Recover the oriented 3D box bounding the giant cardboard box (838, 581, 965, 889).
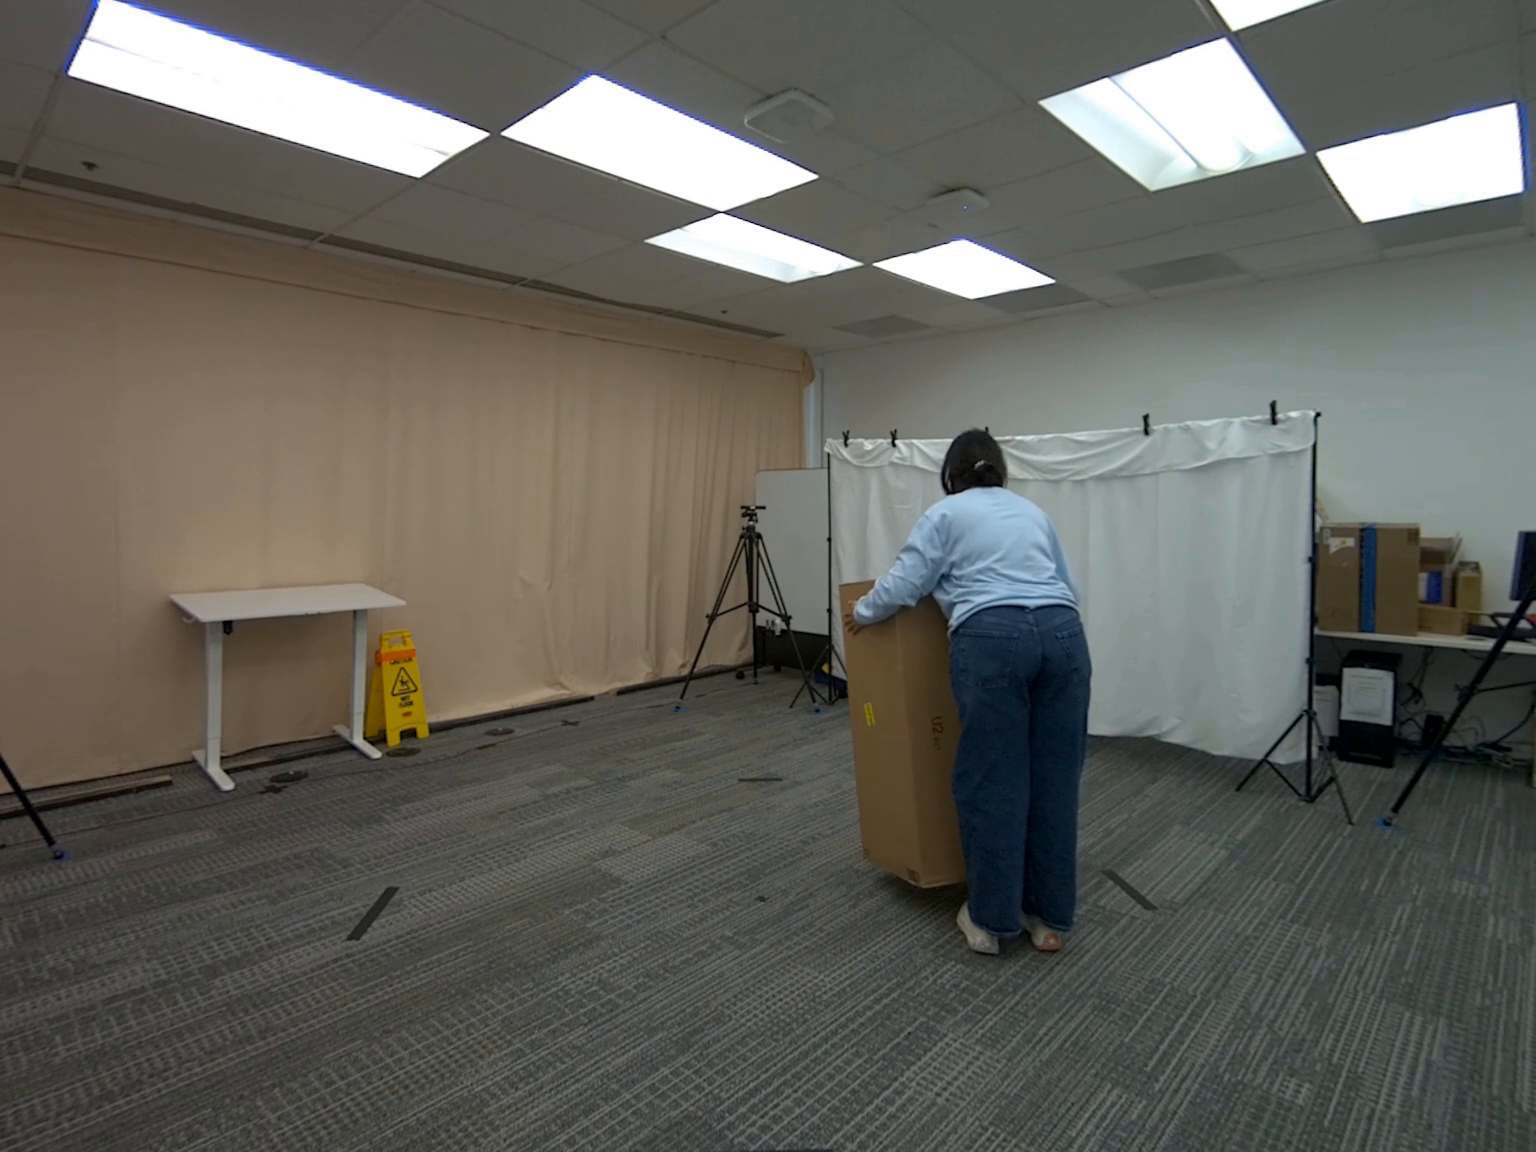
[{"bbox_3d":[0.655,0.515,3.079,0.567,1.028,0.433,-4,-4,-19],"label":"giant cardboard box"}]
